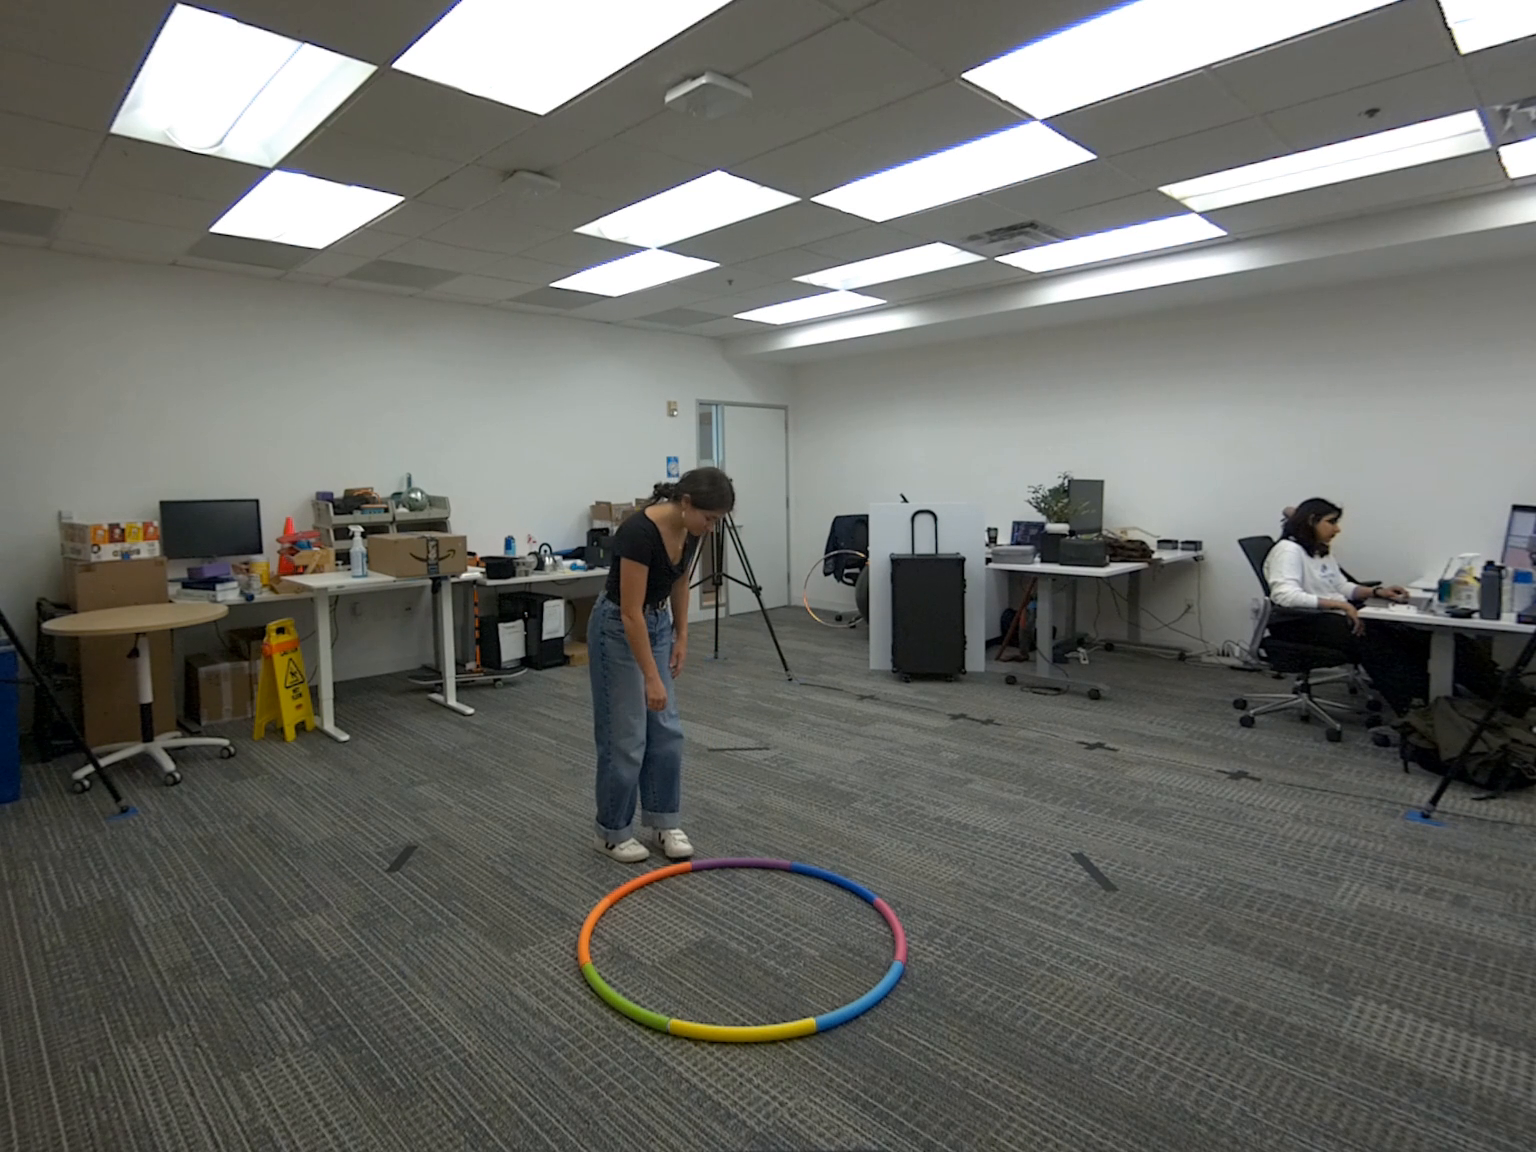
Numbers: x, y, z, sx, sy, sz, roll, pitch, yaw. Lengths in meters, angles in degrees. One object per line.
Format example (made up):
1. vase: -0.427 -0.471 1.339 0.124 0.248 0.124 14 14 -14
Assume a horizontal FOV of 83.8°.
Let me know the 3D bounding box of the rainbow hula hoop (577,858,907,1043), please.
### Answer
1. rainbow hula hoop: -0.077 1.076 2.614 0.978 0.035 0.984 -2 7 -2
